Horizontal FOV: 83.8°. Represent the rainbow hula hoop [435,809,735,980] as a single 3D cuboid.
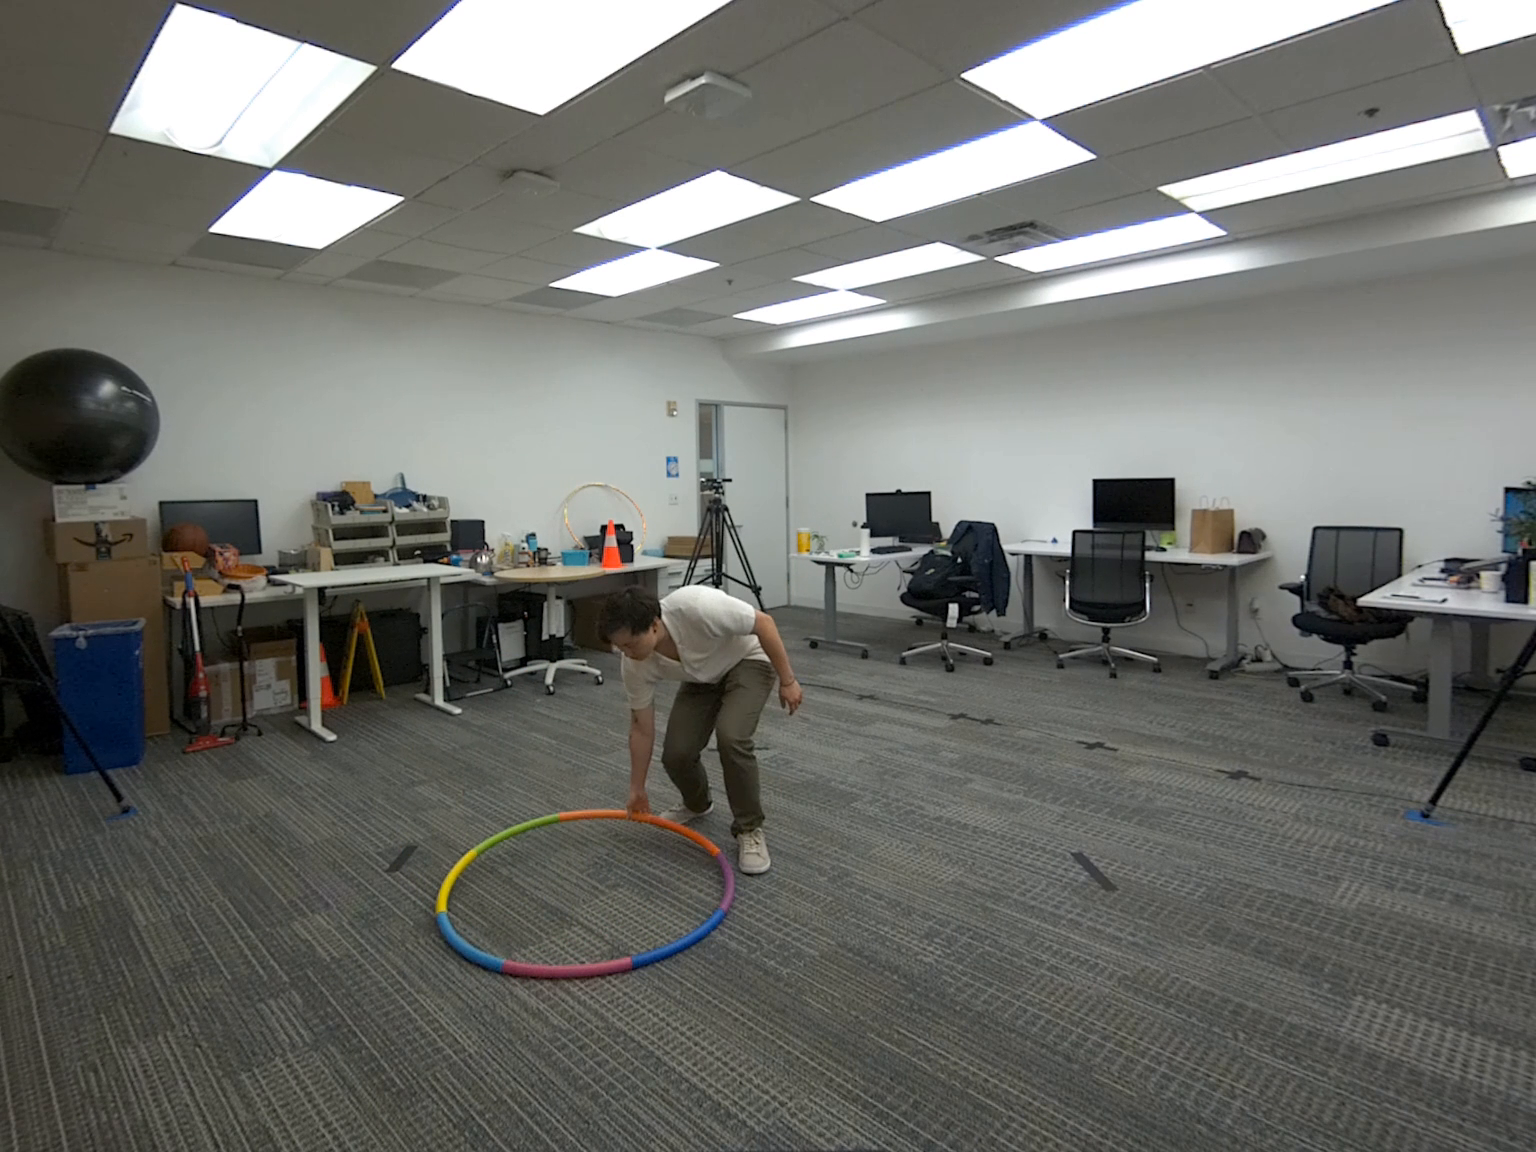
[{"bbox_3d":[-0.605,1.014,2.891,0.978,0.035,0.988,-1,11,-1],"label":"rainbow hula hoop"}]
